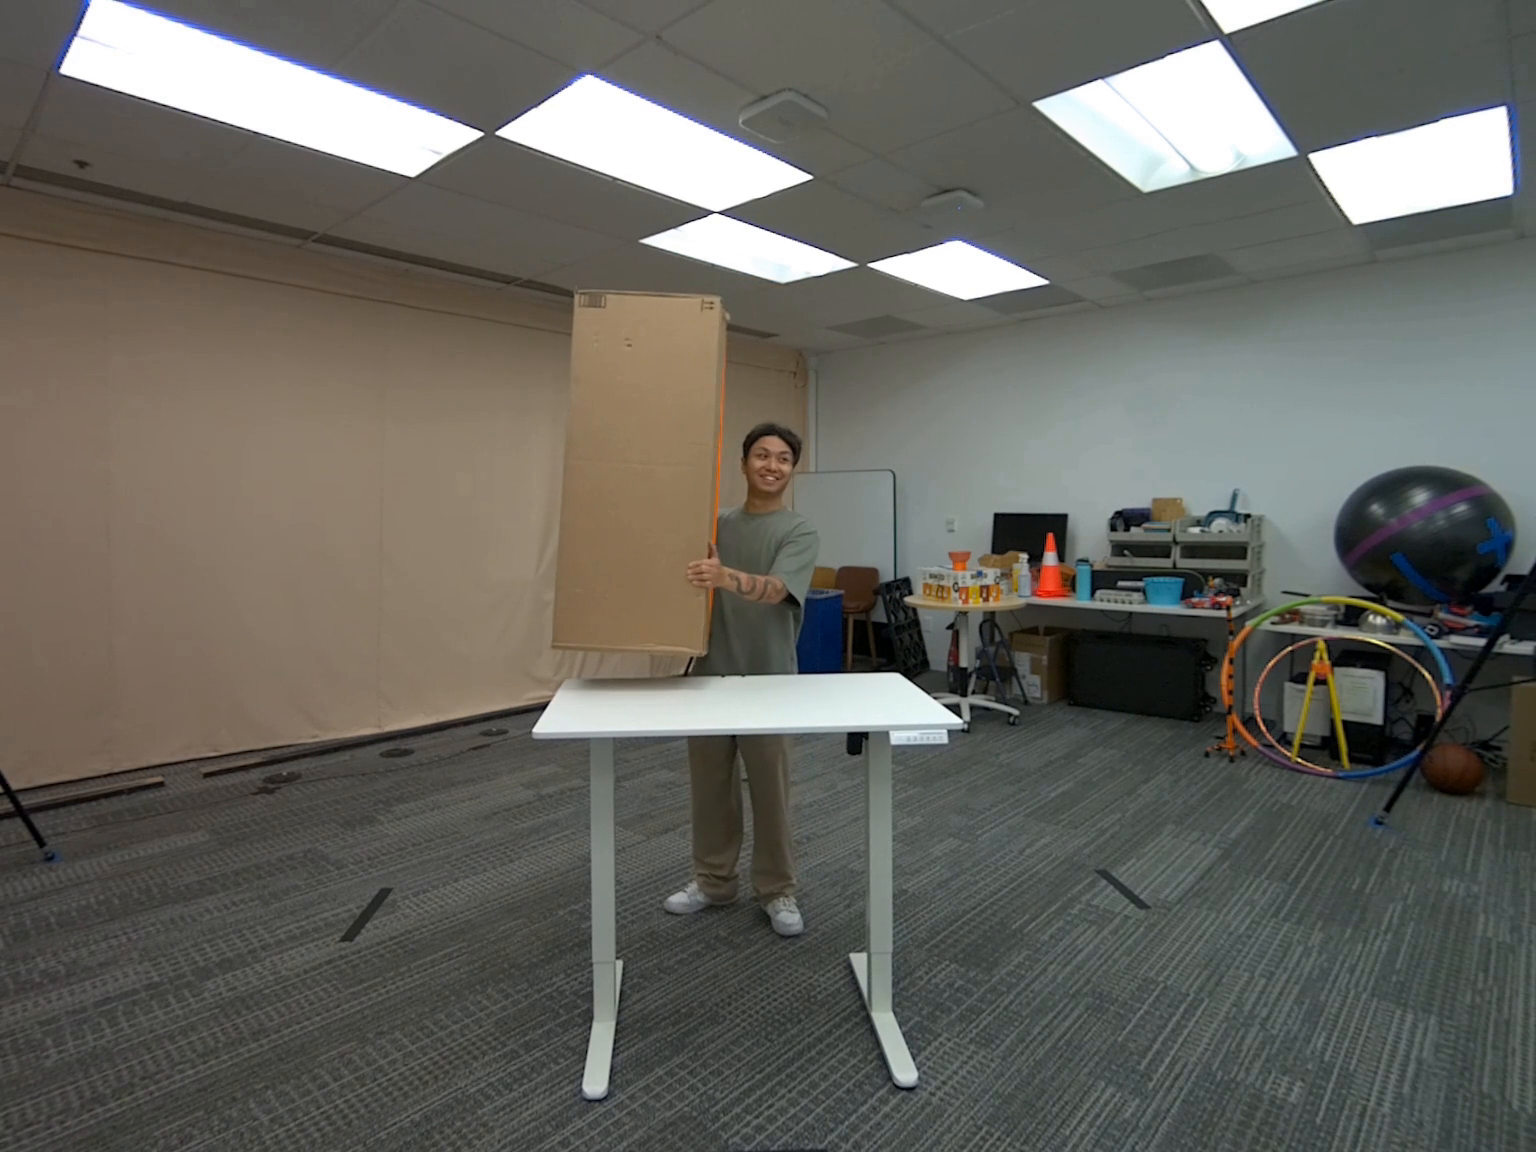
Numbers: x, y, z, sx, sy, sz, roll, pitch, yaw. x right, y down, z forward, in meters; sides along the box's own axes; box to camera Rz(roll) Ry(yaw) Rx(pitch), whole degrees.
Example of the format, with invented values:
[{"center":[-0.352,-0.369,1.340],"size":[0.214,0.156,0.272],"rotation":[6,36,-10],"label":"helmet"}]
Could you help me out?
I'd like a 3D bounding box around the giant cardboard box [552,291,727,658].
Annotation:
[{"center":[-0.376,-0.280,2.630],"size":[0.427,1.028,0.575],"rotation":[2,-4,0],"label":"giant cardboard box"}]
